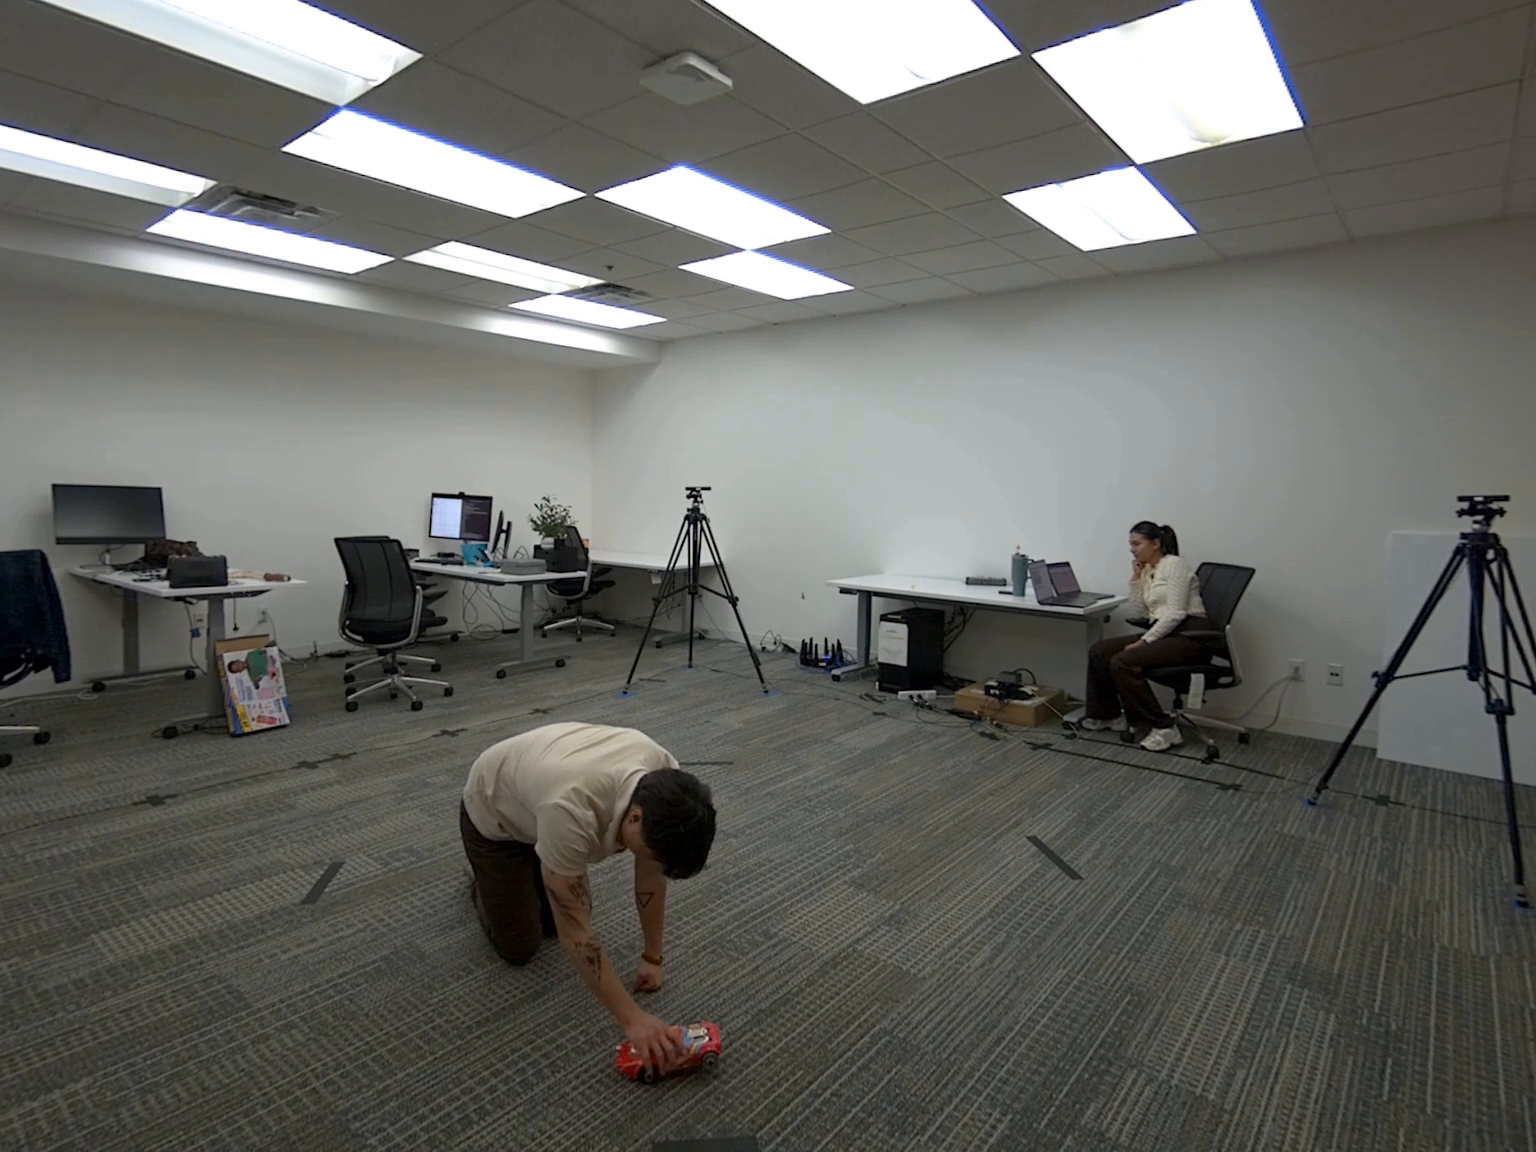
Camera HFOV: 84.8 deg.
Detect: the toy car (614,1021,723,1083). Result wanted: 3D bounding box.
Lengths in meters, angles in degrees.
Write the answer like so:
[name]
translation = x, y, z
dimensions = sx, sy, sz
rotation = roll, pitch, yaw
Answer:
[toy car]
translation = -0.255, 1.140, 2.031
dimensions = 0.252, 0.083, 0.132
rotation = 1, 5, -9
